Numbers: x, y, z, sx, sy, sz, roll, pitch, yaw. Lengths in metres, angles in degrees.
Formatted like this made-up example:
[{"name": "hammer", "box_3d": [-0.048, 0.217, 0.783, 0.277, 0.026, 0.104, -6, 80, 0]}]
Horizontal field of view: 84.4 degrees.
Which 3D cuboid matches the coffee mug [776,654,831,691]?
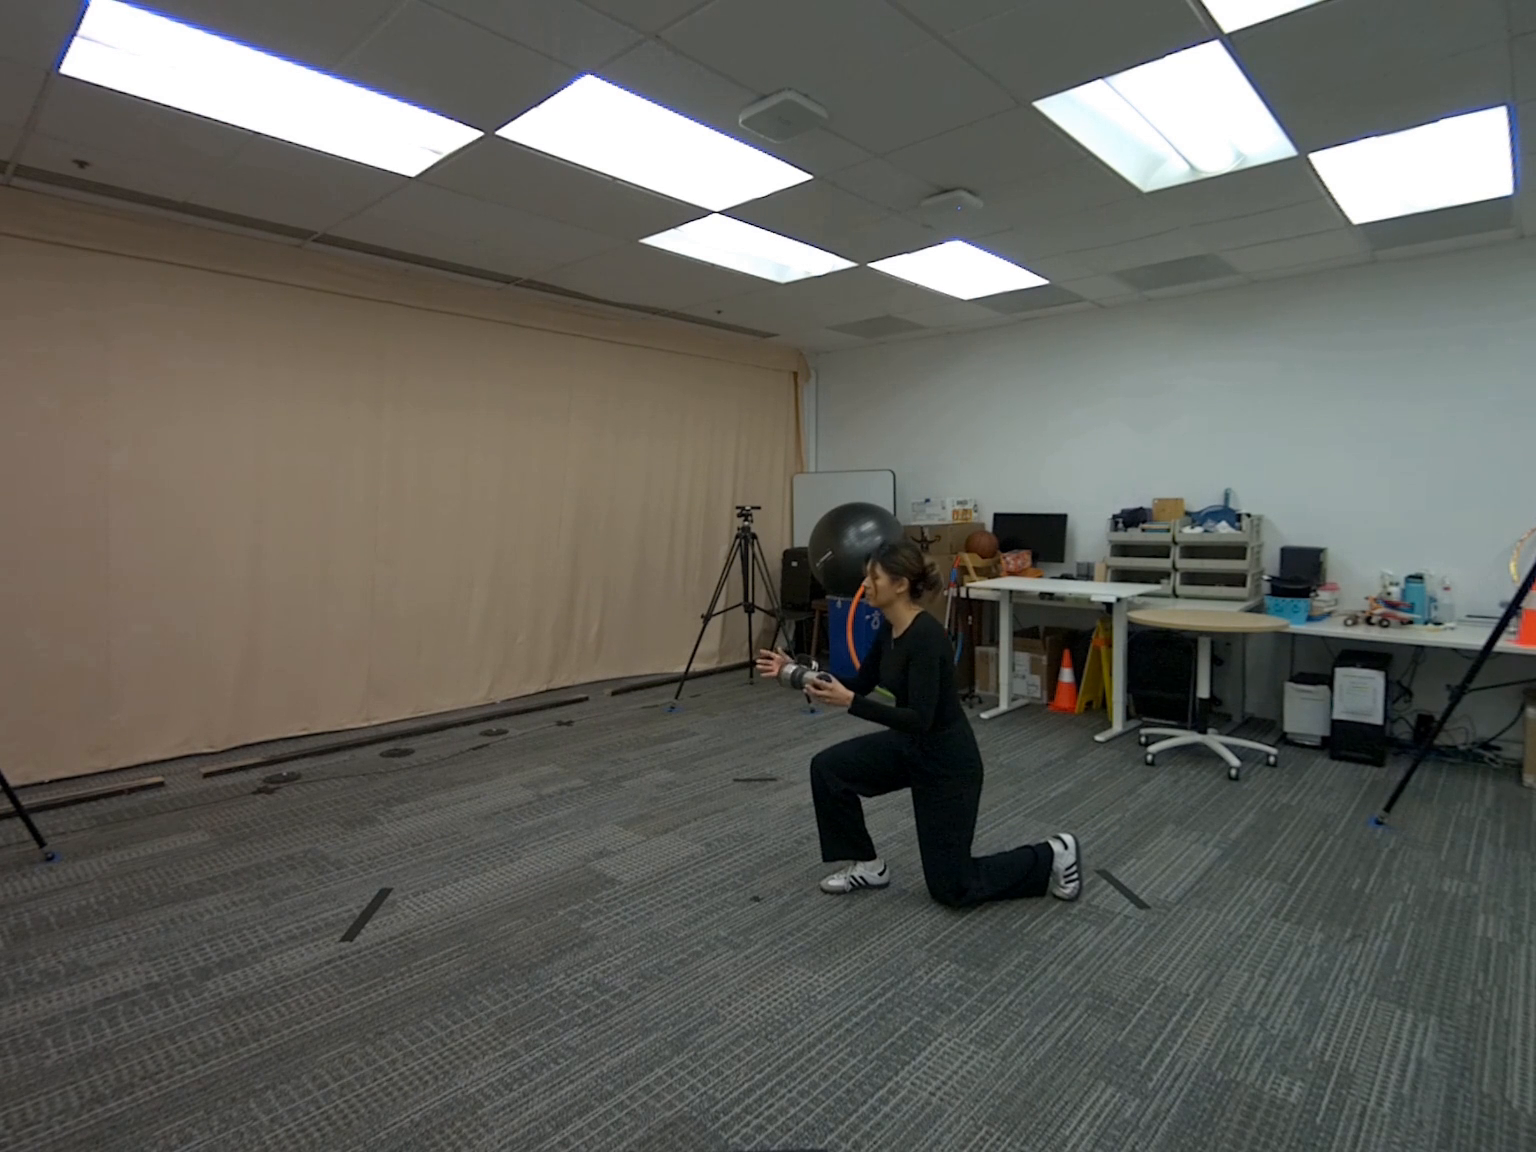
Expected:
[{"name": "coffee mug", "box_3d": [0.126, 0.321, 2.769, 0.086, 0.122, 0.208, -5, 3, -29]}]
